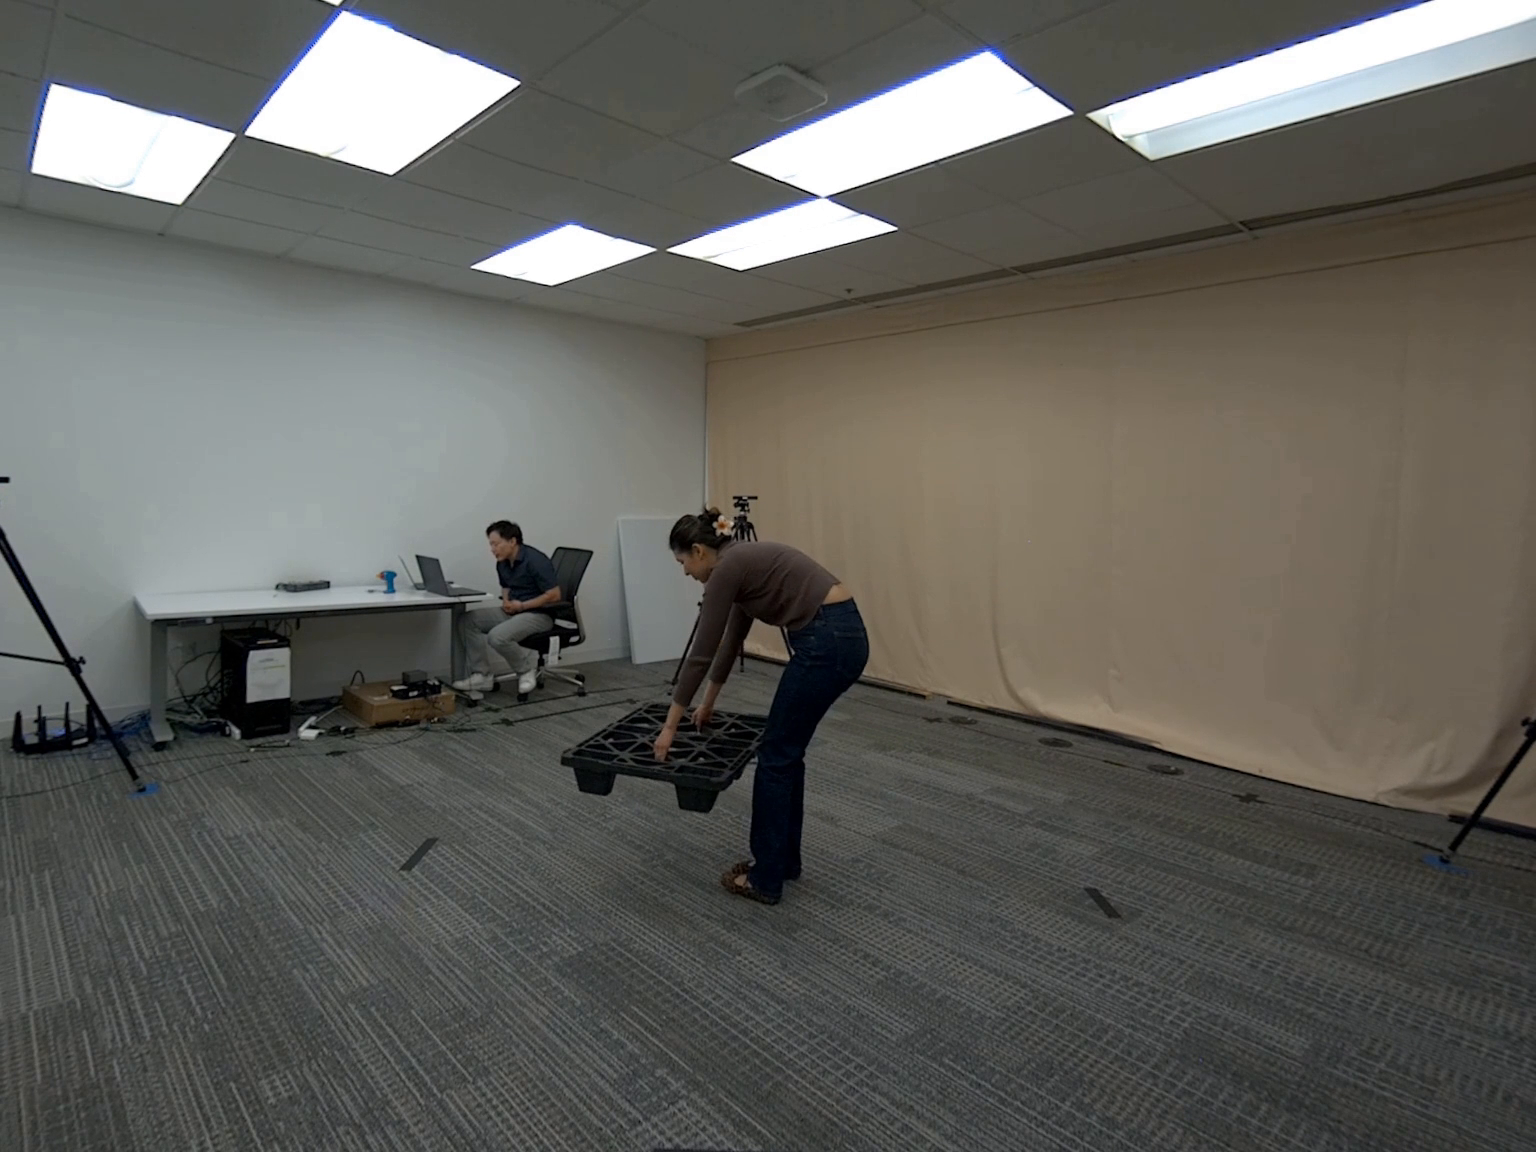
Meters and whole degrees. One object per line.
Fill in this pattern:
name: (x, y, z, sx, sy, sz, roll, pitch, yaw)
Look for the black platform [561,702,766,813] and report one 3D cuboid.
black platform: (-0.329, 0.666, 3.176, 0.613, 0.143, 0.798, 4, 7, 15)
